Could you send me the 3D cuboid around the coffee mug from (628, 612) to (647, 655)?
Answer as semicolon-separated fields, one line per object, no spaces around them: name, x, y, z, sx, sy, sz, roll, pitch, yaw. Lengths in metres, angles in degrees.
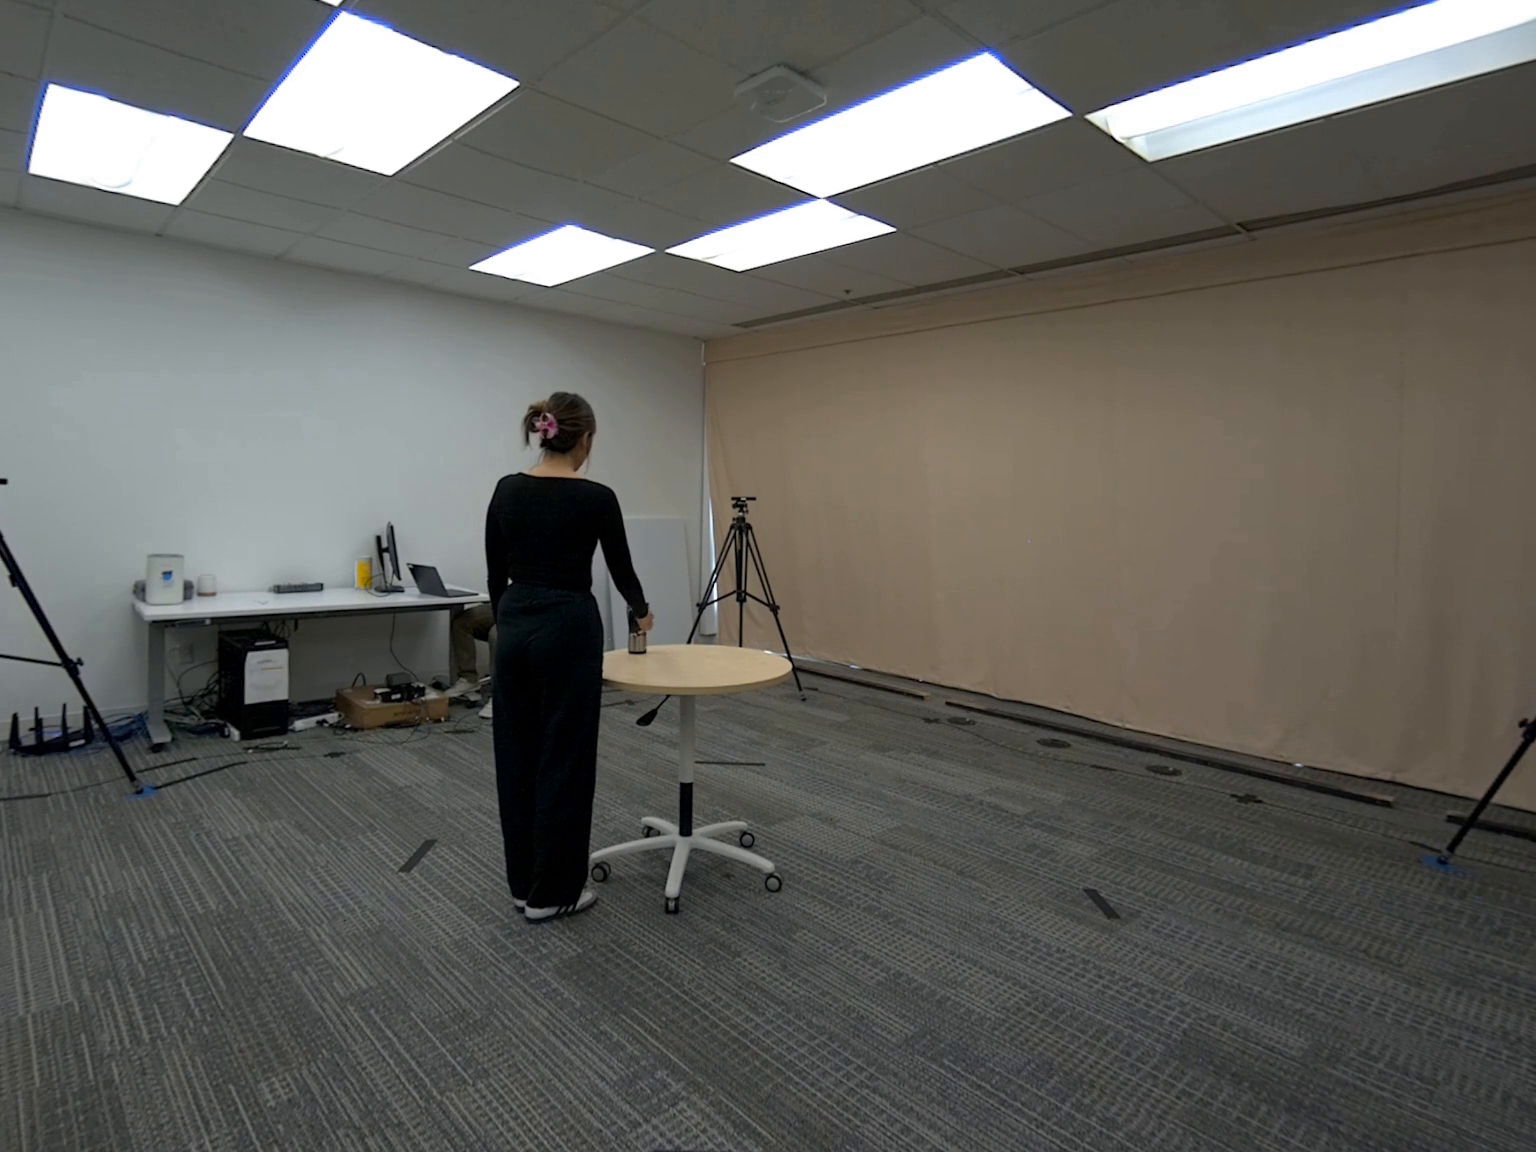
coffee mug;-0.536;0.201;3.265;0.090;0.202;0.119;9;4;45
